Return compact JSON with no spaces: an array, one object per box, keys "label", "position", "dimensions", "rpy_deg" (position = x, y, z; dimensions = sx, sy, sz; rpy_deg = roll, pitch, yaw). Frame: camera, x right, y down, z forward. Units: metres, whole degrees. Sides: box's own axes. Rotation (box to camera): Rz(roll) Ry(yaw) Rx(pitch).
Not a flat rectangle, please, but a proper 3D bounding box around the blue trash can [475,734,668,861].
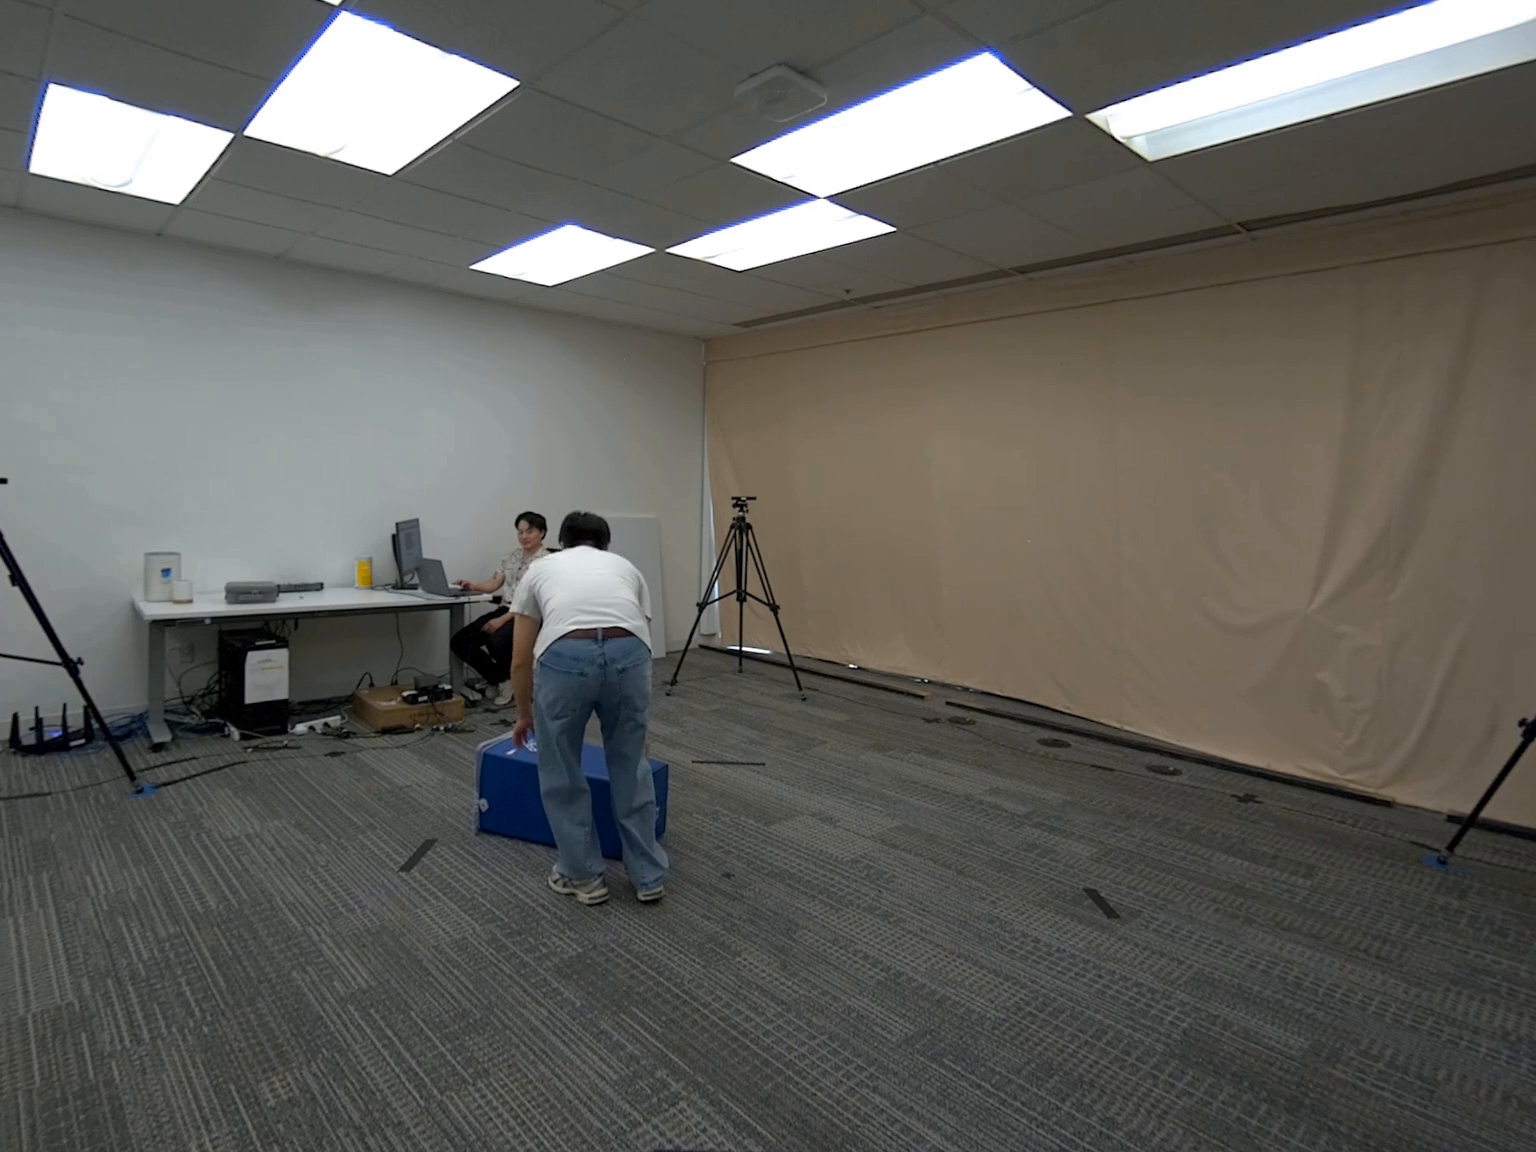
[{"label":"blue trash can","position":[-0.803,0.893,3.451],"dimensions":[0.726,0.377,0.369],"rpy_deg":[7,6,21]}]
